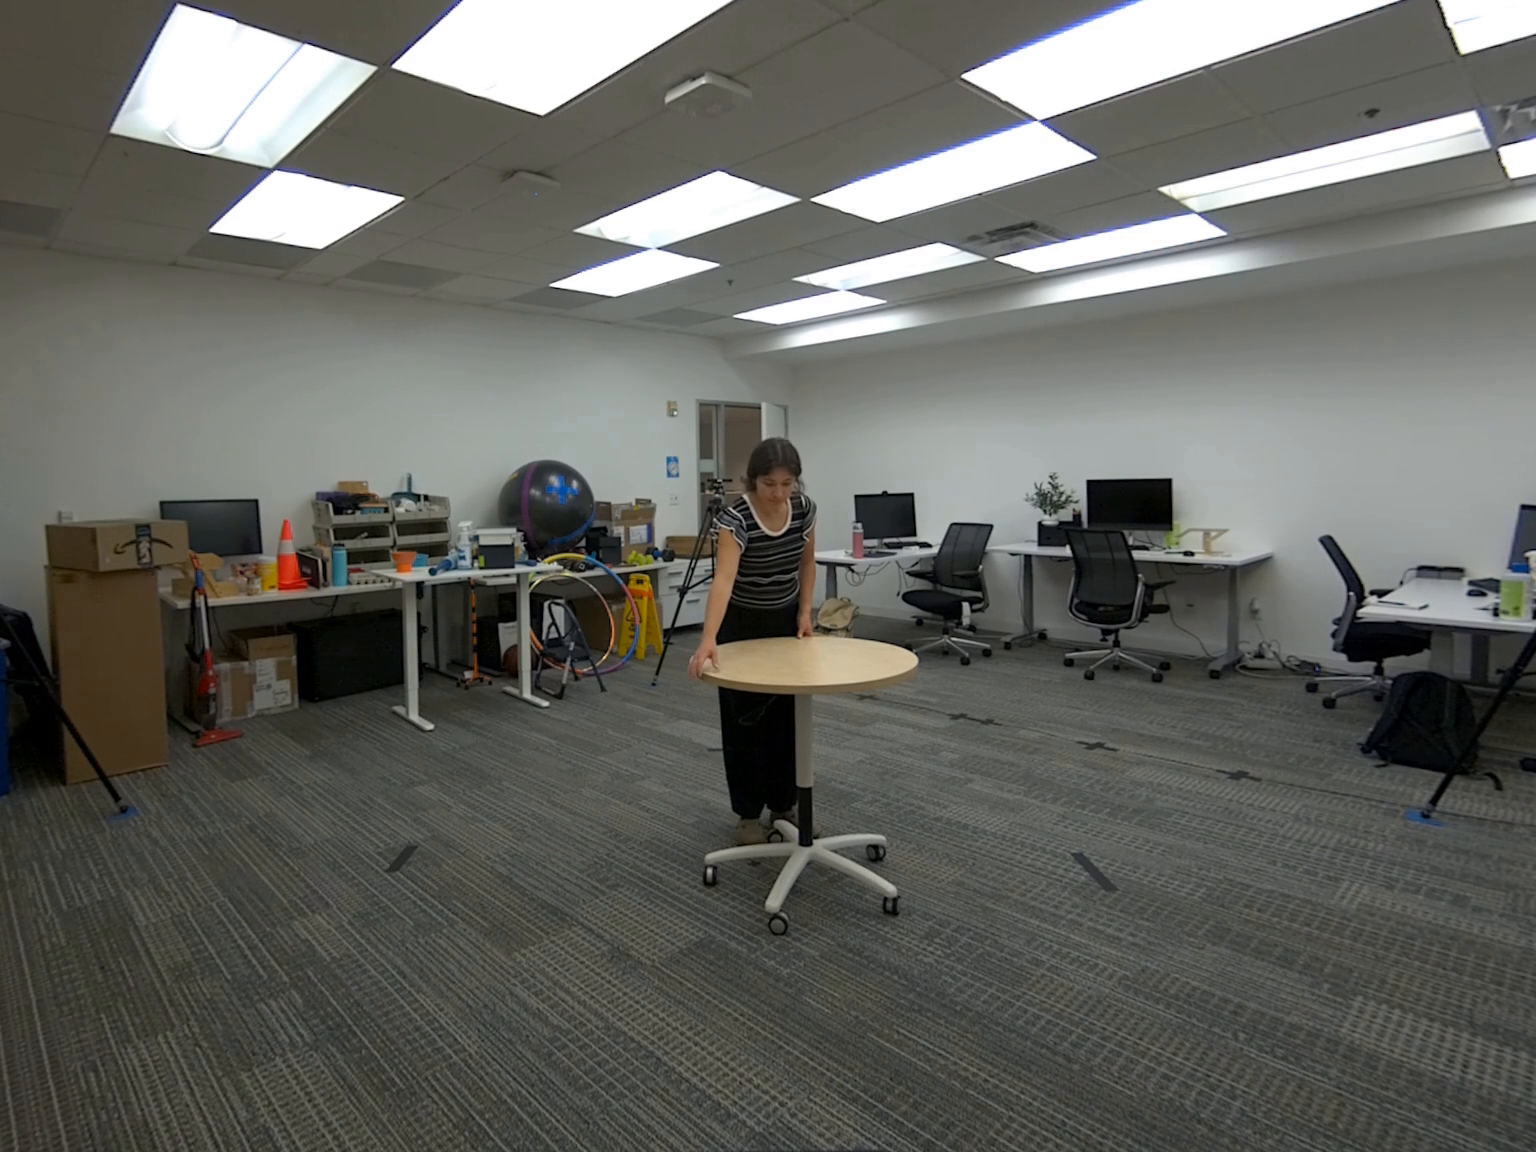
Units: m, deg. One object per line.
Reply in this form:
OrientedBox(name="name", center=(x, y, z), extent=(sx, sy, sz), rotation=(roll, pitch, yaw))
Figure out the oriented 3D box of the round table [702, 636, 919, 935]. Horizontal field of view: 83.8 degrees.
OrientedBox(name="round table", center=(0.125, 0.670, 2.926), extent=(0.784, 0.783, 0.790), rotation=(-1, 6, -2))
